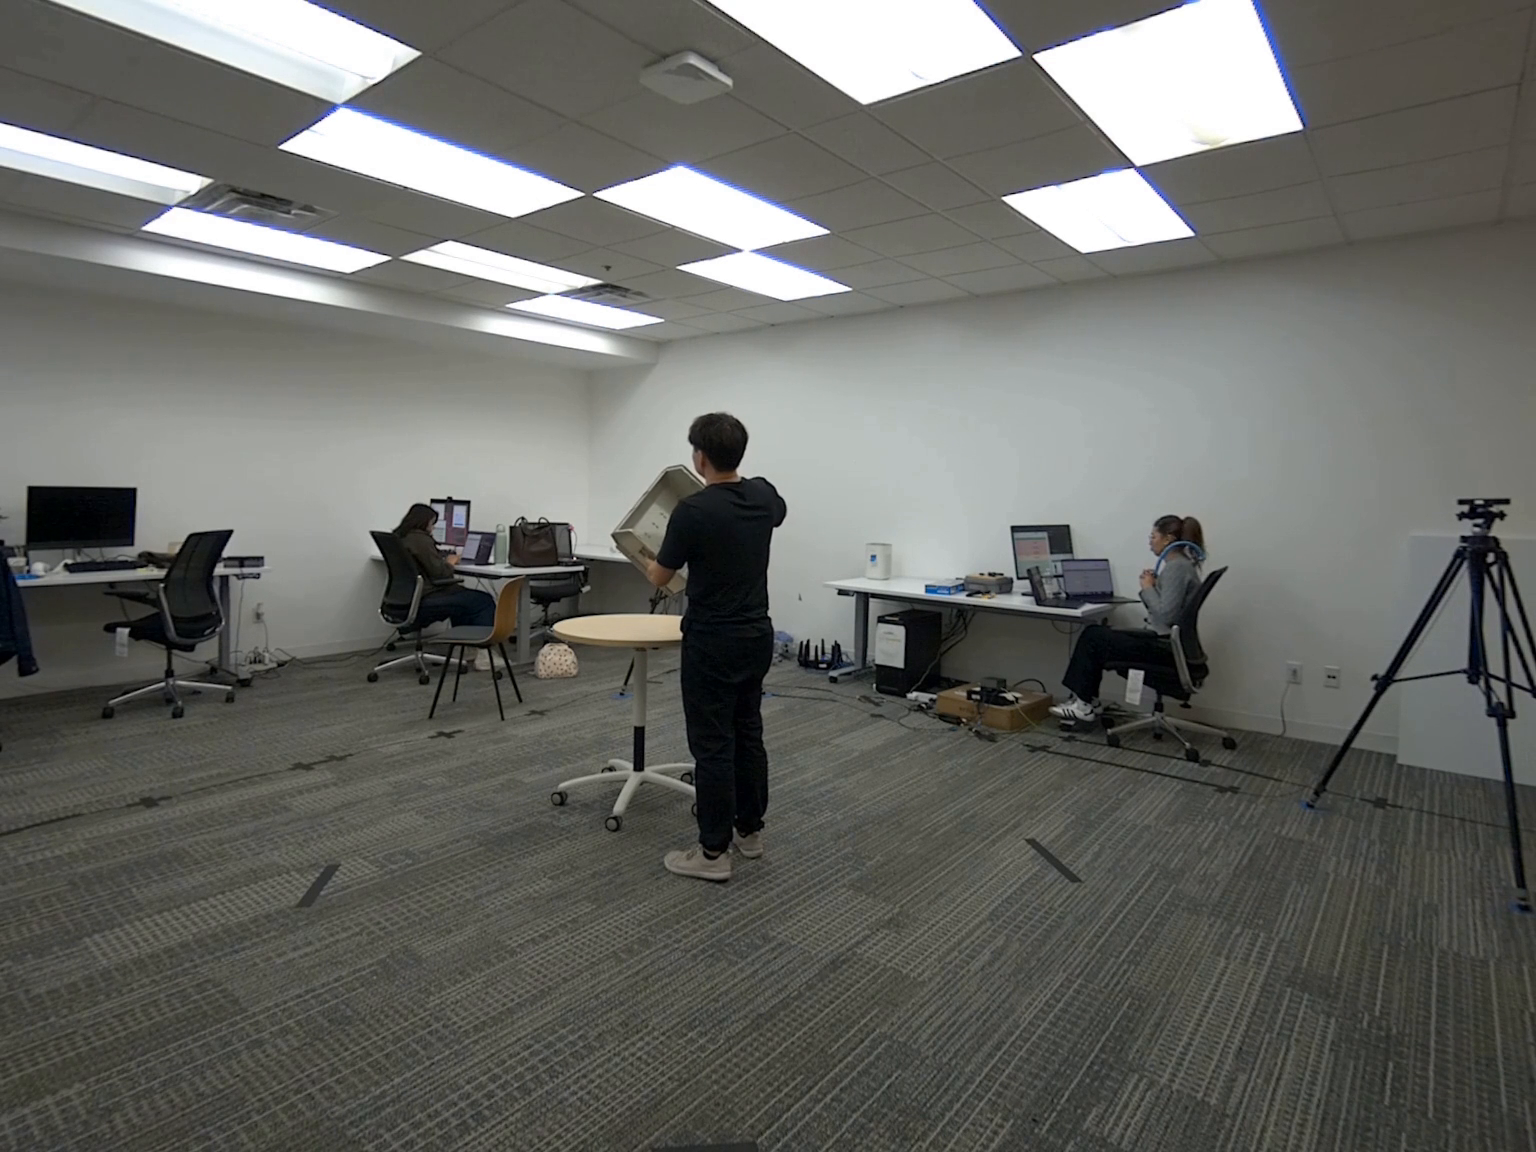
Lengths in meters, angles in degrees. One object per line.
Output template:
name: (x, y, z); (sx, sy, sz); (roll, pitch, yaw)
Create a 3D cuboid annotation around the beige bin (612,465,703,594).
beige bin: (-0.404, -0.202, 3.551); (0.191, 0.370, 0.425); (-29, 22, 51)
